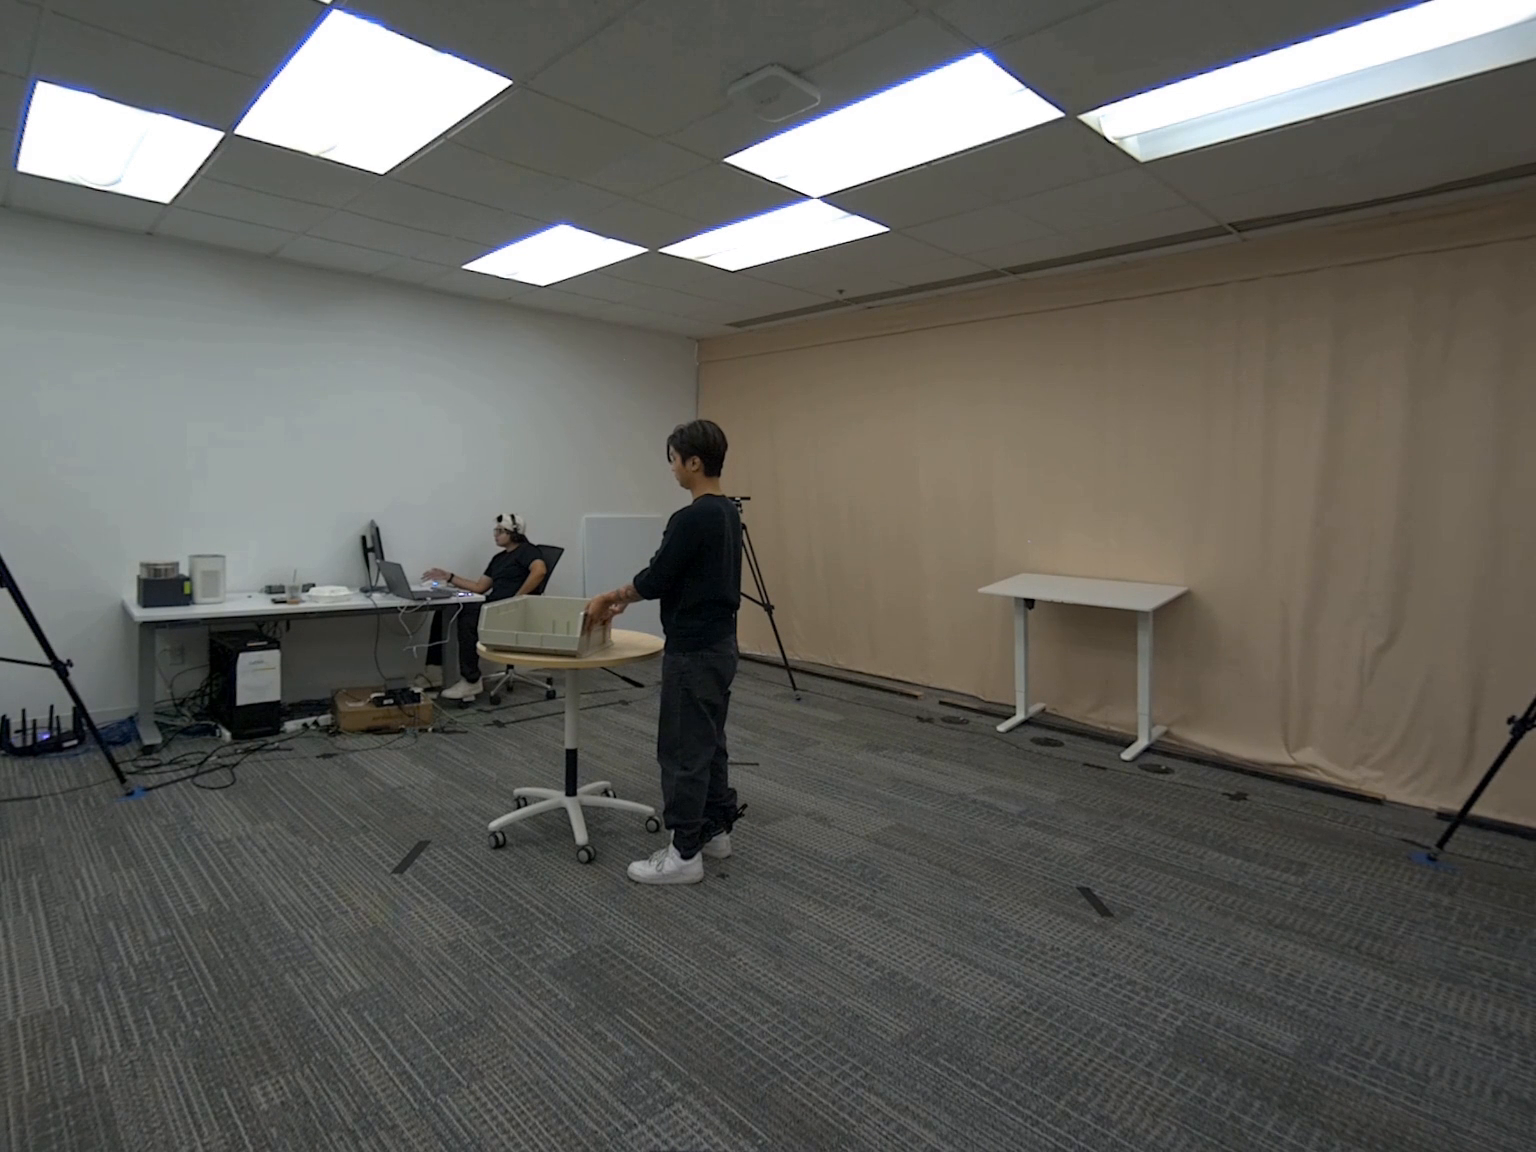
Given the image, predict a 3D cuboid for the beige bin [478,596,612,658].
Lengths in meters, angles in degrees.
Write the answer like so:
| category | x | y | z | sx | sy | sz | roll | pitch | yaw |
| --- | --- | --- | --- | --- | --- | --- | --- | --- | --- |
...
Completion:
| category | x | y | z | sx | sy | sz | roll | pitch | yaw |
| --- | --- | --- | --- | --- | --- | --- | --- | --- | --- |
| beige bin | -0.866 | 0.197 | 3.334 | 0.426 | 0.188 | 0.375 | 2 | 4 | 11 |
